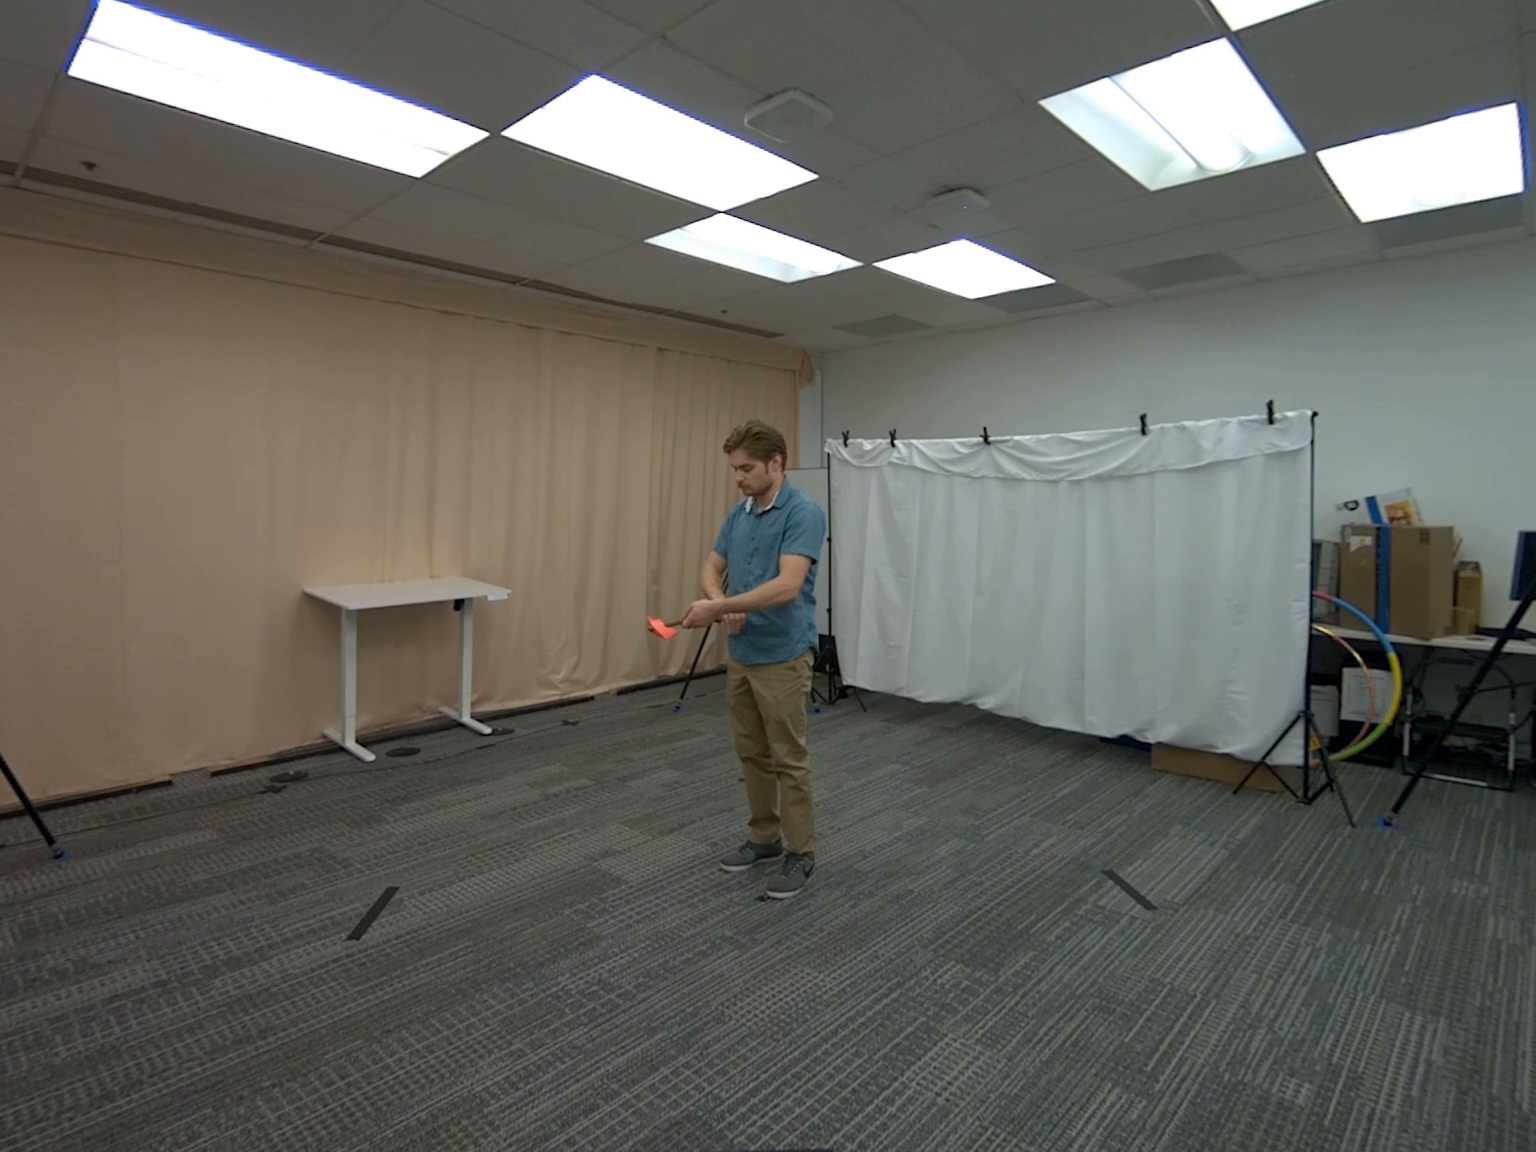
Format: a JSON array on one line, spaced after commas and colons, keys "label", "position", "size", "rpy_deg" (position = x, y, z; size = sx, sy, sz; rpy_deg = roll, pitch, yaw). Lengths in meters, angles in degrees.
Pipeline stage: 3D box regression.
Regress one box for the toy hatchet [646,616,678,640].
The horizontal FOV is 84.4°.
[{"label": "toy hatchet", "position": [-0.282, 0.174, 2.892], "size": [0.265, 0.029, 0.134], "rpy_deg": [3, 30, -16]}]
